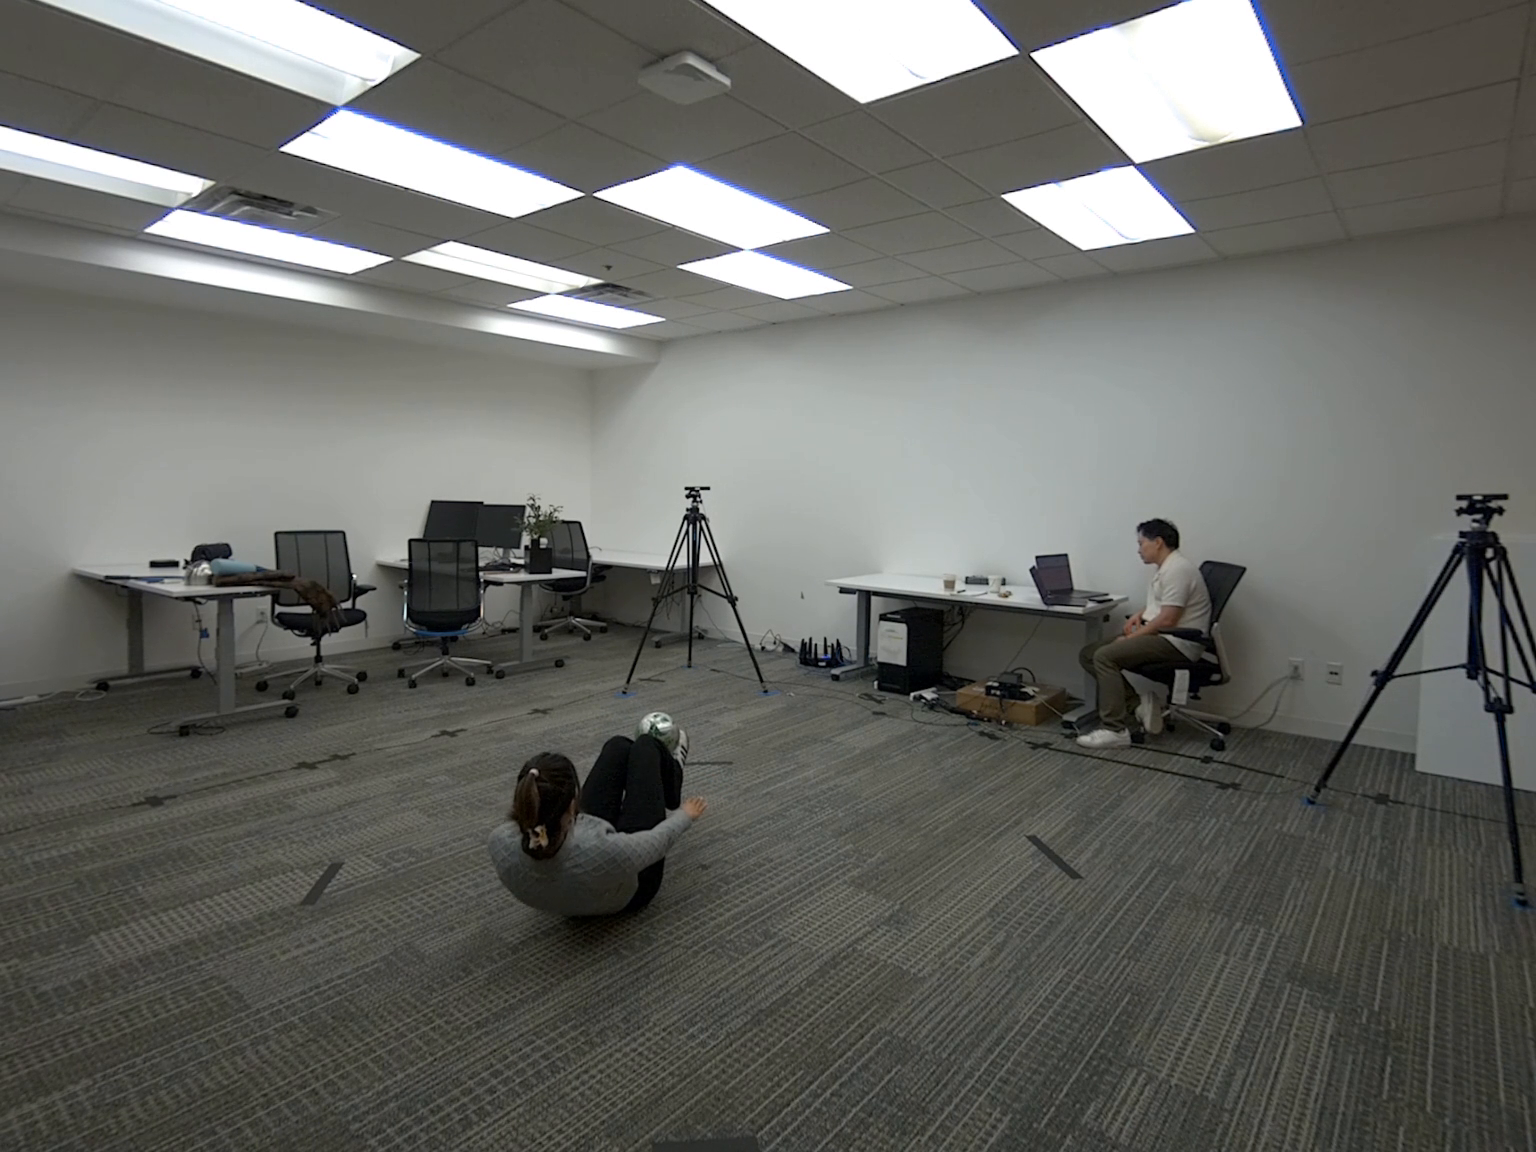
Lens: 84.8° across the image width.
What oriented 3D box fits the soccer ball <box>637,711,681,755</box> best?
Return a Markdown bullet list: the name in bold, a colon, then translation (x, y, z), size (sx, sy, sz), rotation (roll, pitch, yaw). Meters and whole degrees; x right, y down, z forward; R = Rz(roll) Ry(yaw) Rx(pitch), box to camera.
- **soccer ball**: translation (-0.463, 0.650, 3.463), size (0.187, 0.187, 0.188), rotation (0, 4, -2)
